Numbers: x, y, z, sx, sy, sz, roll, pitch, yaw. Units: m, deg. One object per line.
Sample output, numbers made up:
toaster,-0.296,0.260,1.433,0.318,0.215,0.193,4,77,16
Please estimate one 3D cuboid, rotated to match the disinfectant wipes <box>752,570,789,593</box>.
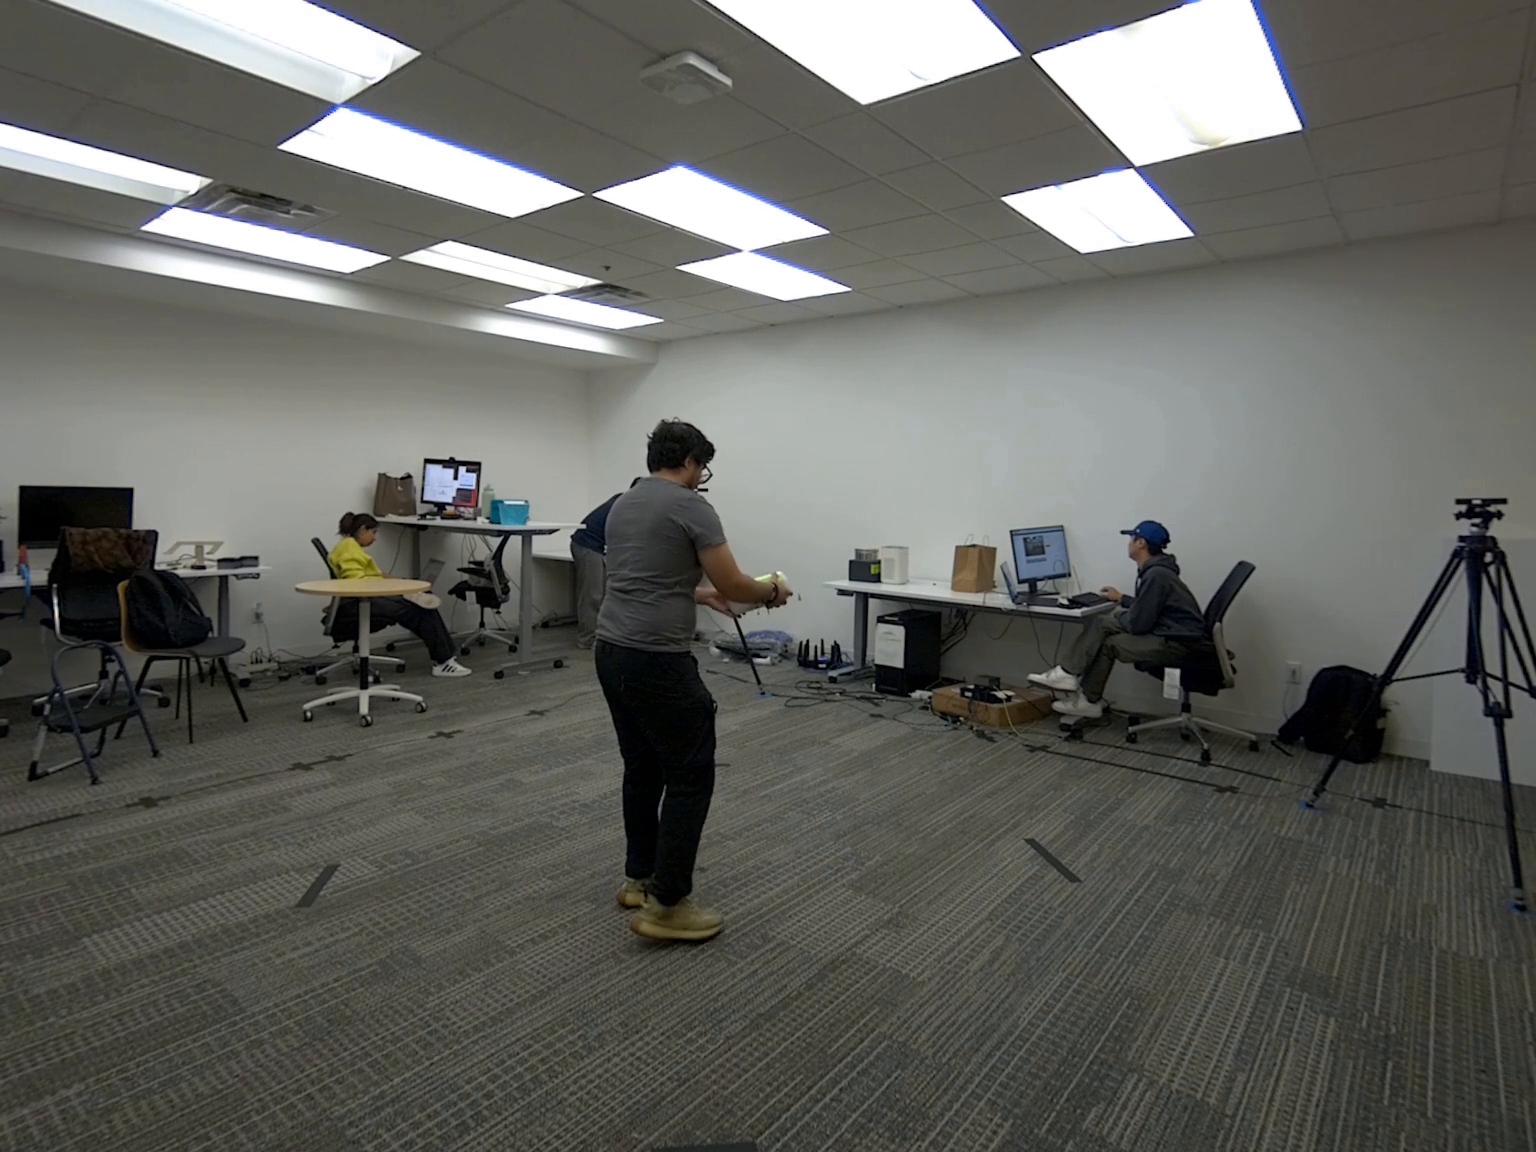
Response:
disinfectant wipes,-0.044,0.063,3.034,0.214,0.117,0.121,-15,10,-22
